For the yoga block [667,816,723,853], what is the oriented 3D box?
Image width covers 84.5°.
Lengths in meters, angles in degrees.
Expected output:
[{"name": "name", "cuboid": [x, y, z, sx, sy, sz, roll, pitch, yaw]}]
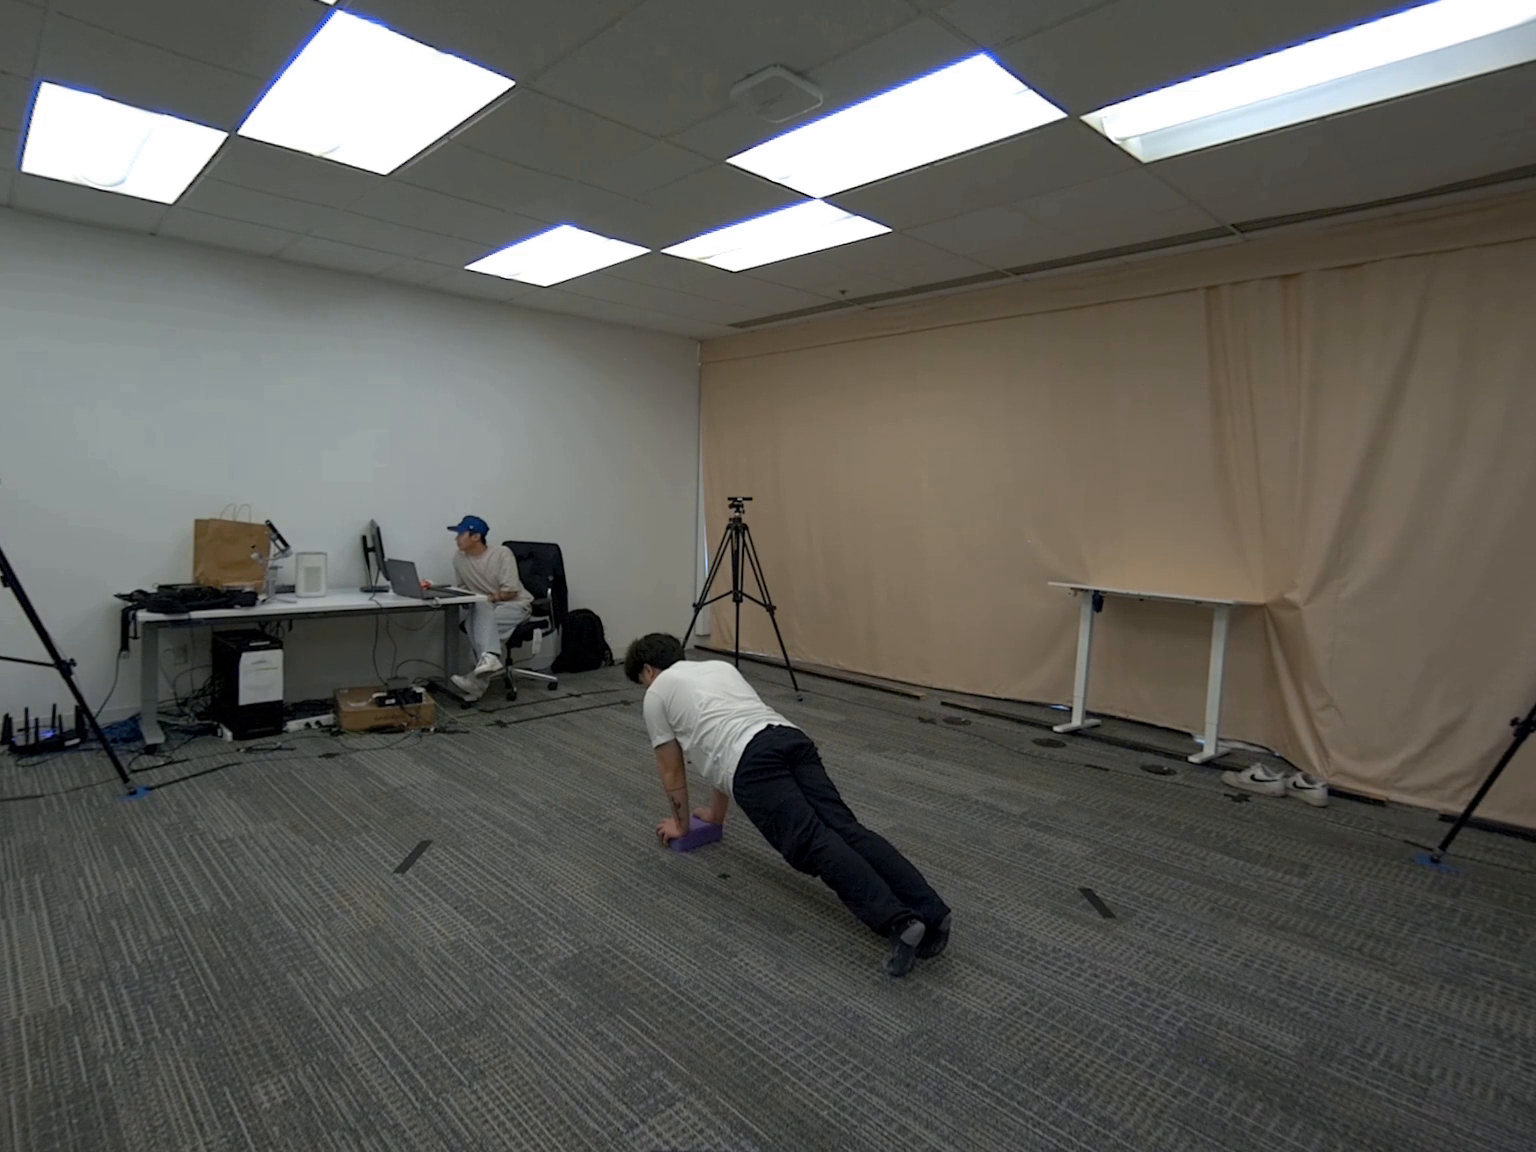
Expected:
[{"name": "yoga block", "cuboid": [-0.323, 1.041, 3.424, 0.224, 0.076, 0.153, -4, 6, -44]}]
